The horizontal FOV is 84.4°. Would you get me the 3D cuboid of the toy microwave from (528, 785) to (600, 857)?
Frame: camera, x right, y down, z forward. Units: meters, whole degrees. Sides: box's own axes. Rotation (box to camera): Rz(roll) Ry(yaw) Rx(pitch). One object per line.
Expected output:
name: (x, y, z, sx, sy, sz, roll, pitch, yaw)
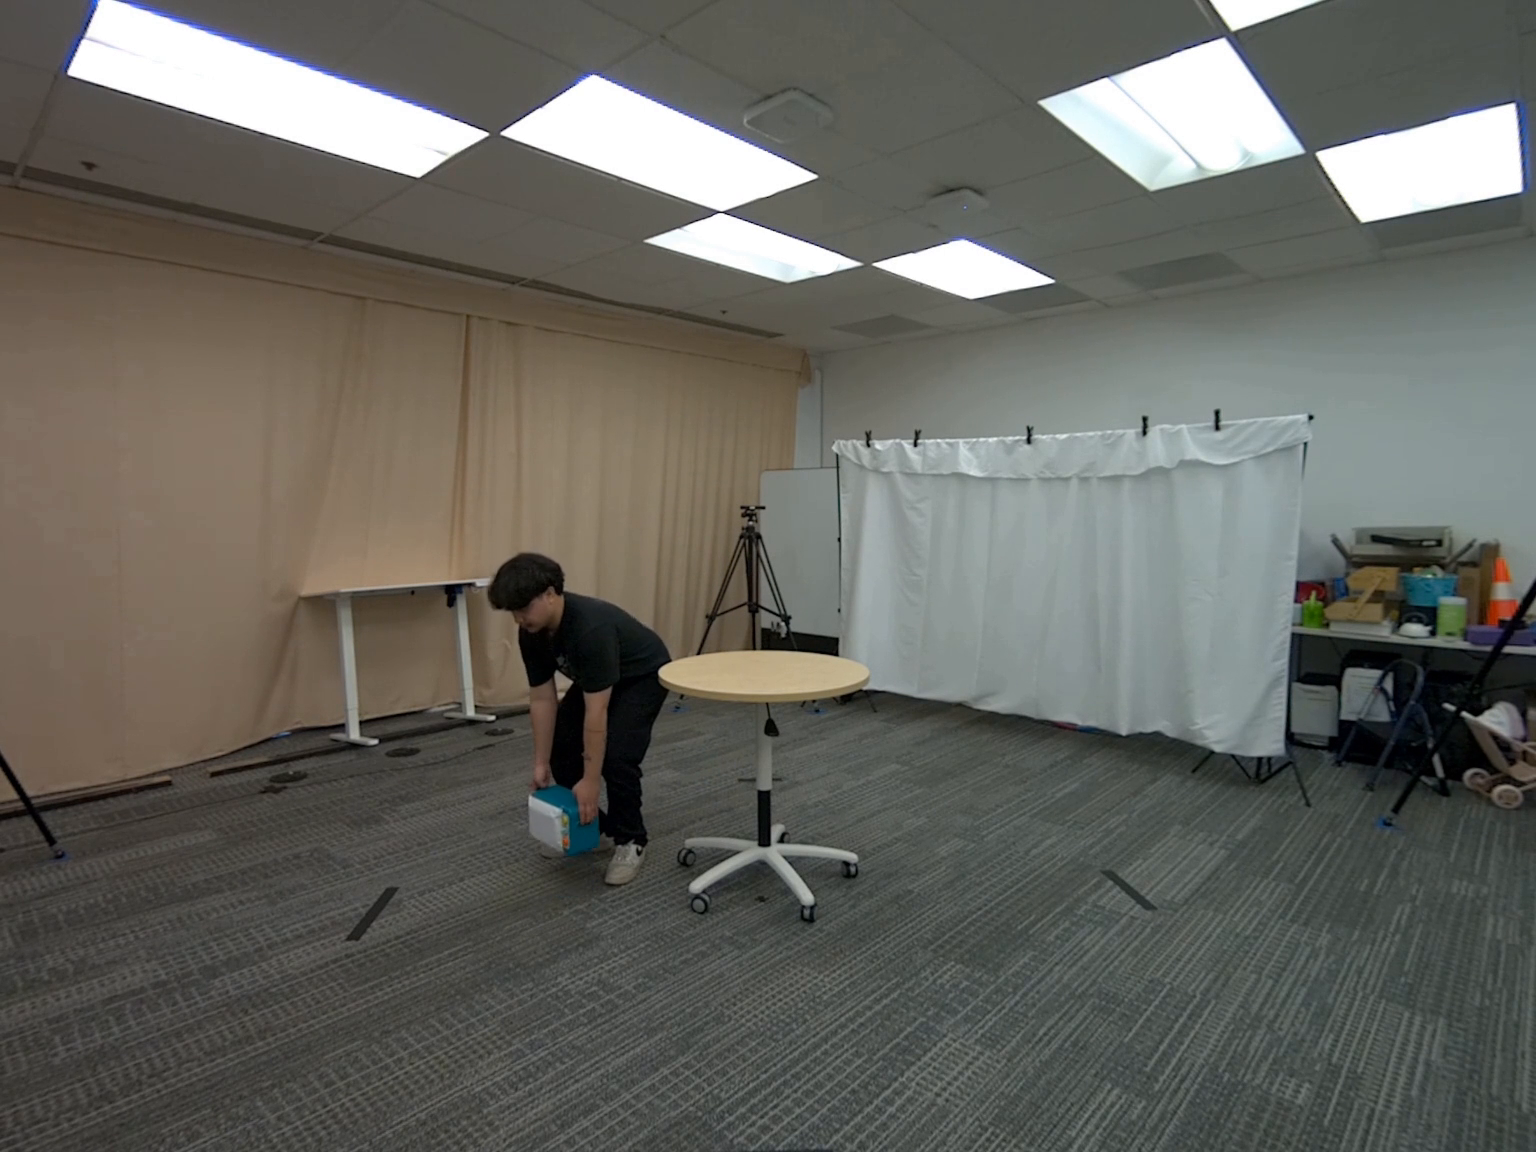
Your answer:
toy microwave: (-0.768, 0.909, 3.147, 0.296, 0.183, 0.148, 4, 6, 44)
